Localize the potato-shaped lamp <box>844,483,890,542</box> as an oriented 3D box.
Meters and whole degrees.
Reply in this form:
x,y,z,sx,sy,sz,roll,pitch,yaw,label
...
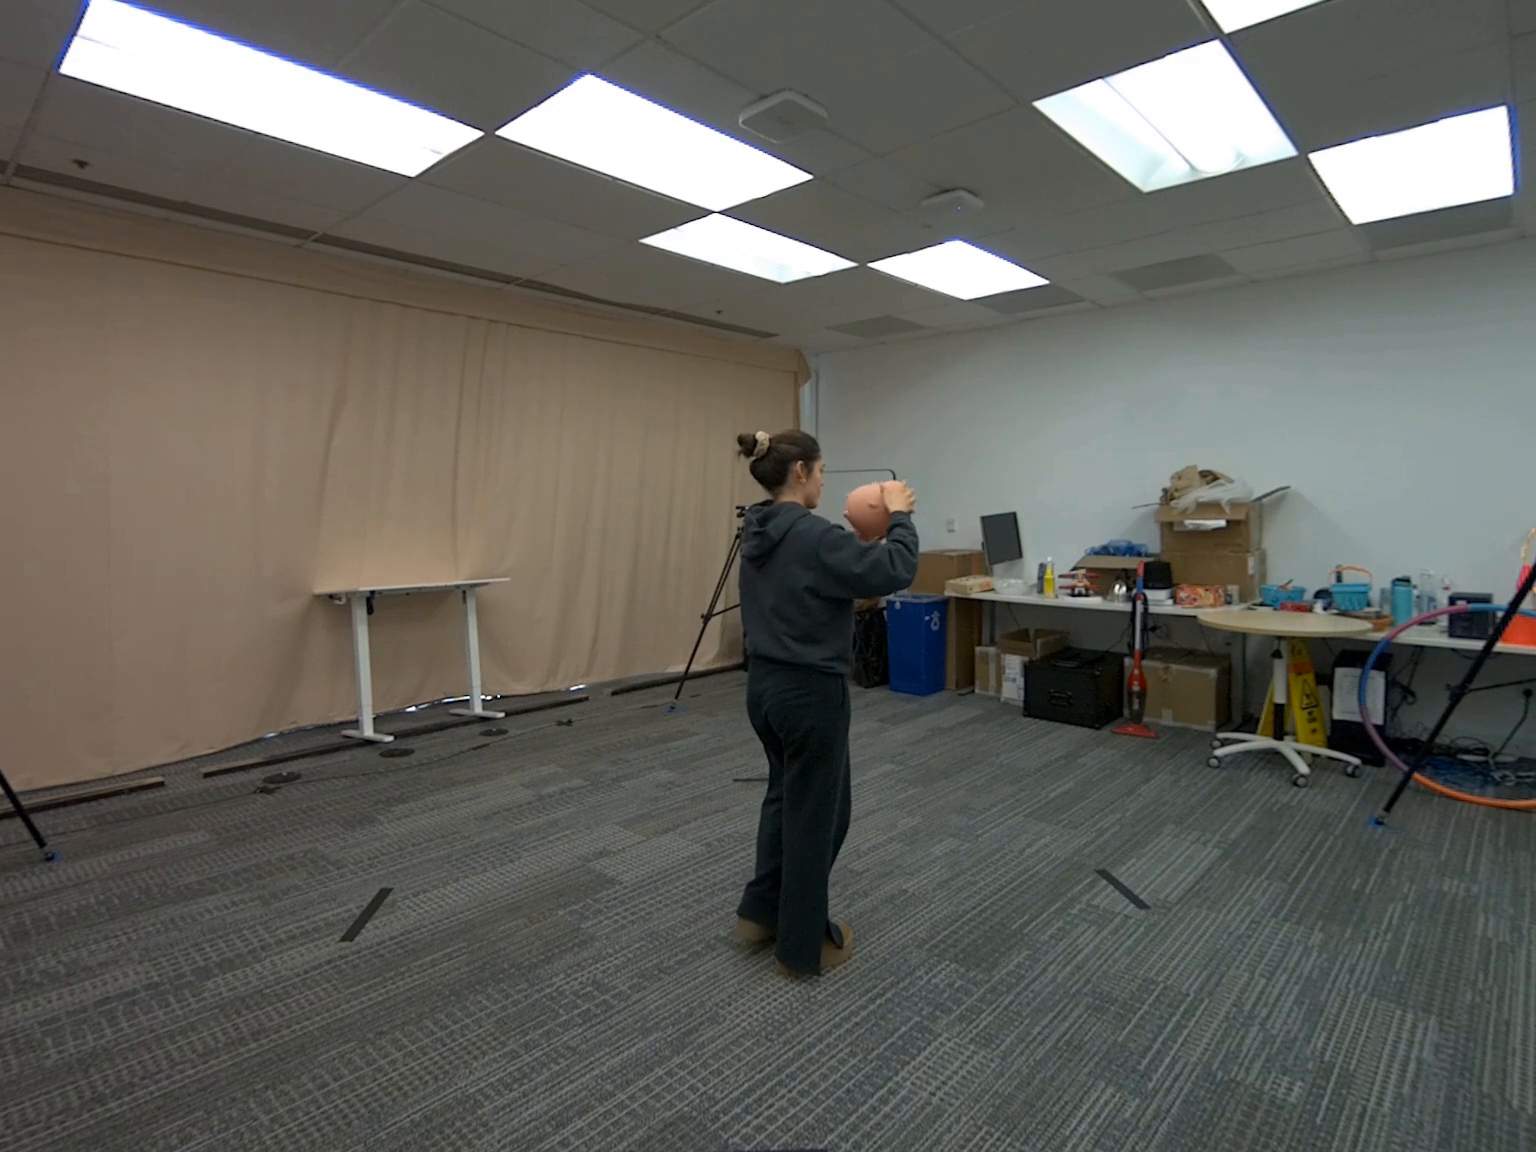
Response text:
x,y,z,sx,sy,sz,roll,pitch,yaw,label
0.360,-0.223,2.616,0.201,0.168,0.165,-31,22,34,potato-shaped lamp
